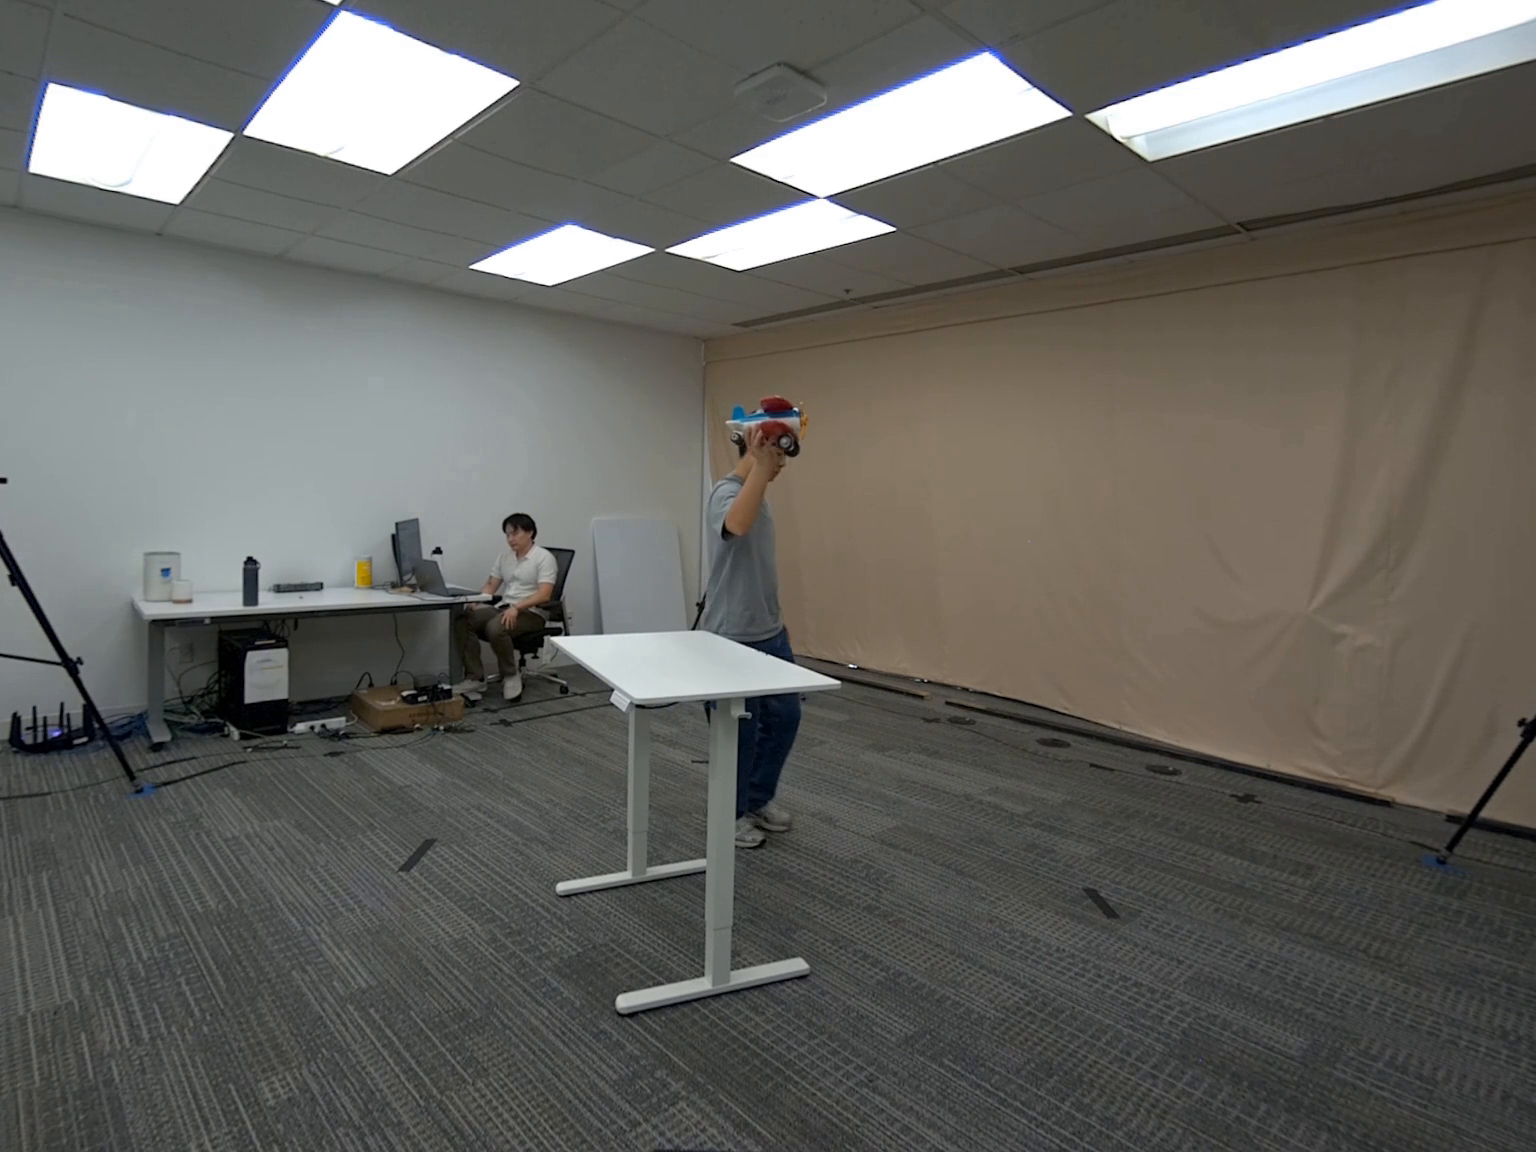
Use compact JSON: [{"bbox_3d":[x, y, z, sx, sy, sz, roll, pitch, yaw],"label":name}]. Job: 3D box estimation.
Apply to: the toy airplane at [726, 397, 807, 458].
[{"bbox_3d":[-0.004,-0.488,2.728,0.257,0.157,0.253,16,-4,-11],"label":"toy airplane"}]
